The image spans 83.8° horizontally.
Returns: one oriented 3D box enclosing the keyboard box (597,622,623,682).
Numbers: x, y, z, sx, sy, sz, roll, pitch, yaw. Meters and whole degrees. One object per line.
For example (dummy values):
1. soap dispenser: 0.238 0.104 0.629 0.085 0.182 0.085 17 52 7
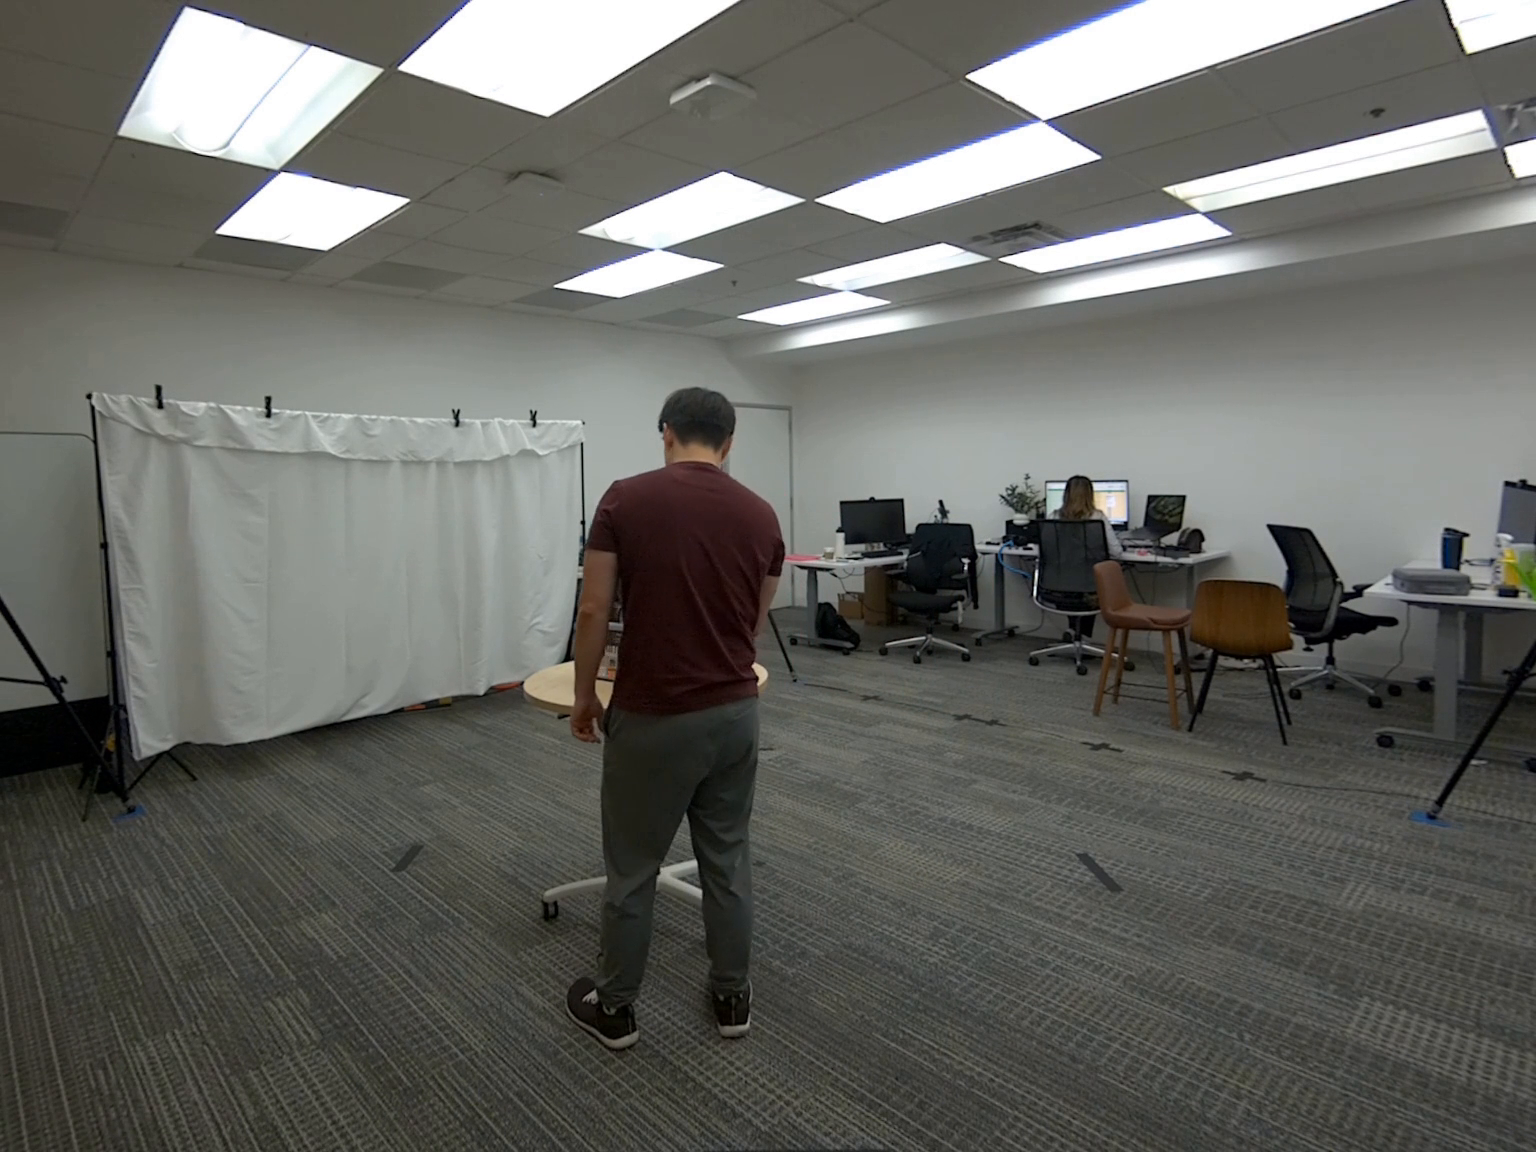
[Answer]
1. keyboard box: -0.411 0.243 2.621 0.449 0.176 0.057 2 0 35
